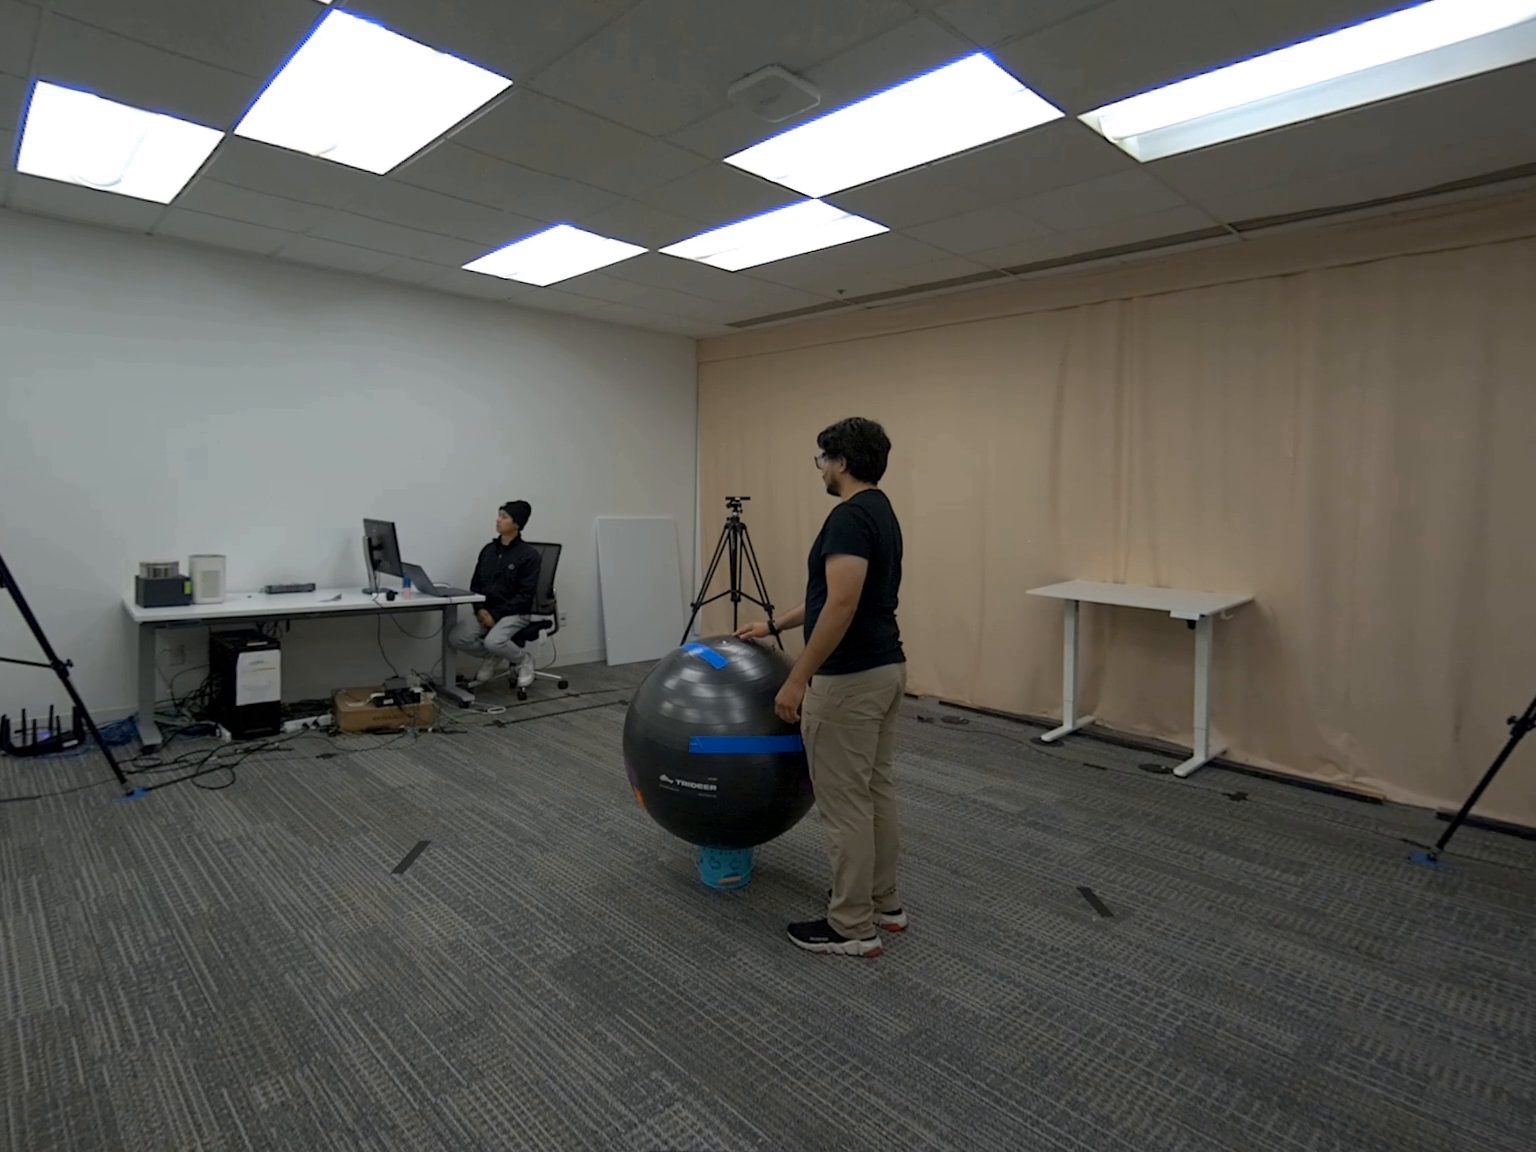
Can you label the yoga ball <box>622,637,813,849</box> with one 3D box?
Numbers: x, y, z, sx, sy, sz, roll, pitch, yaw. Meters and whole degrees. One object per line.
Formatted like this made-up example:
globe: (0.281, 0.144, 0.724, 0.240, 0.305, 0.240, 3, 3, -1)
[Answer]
yoga ball: (-0.155, 0.602, 3.054, 0.757, 0.756, 0.760, 1, 4, -1)
